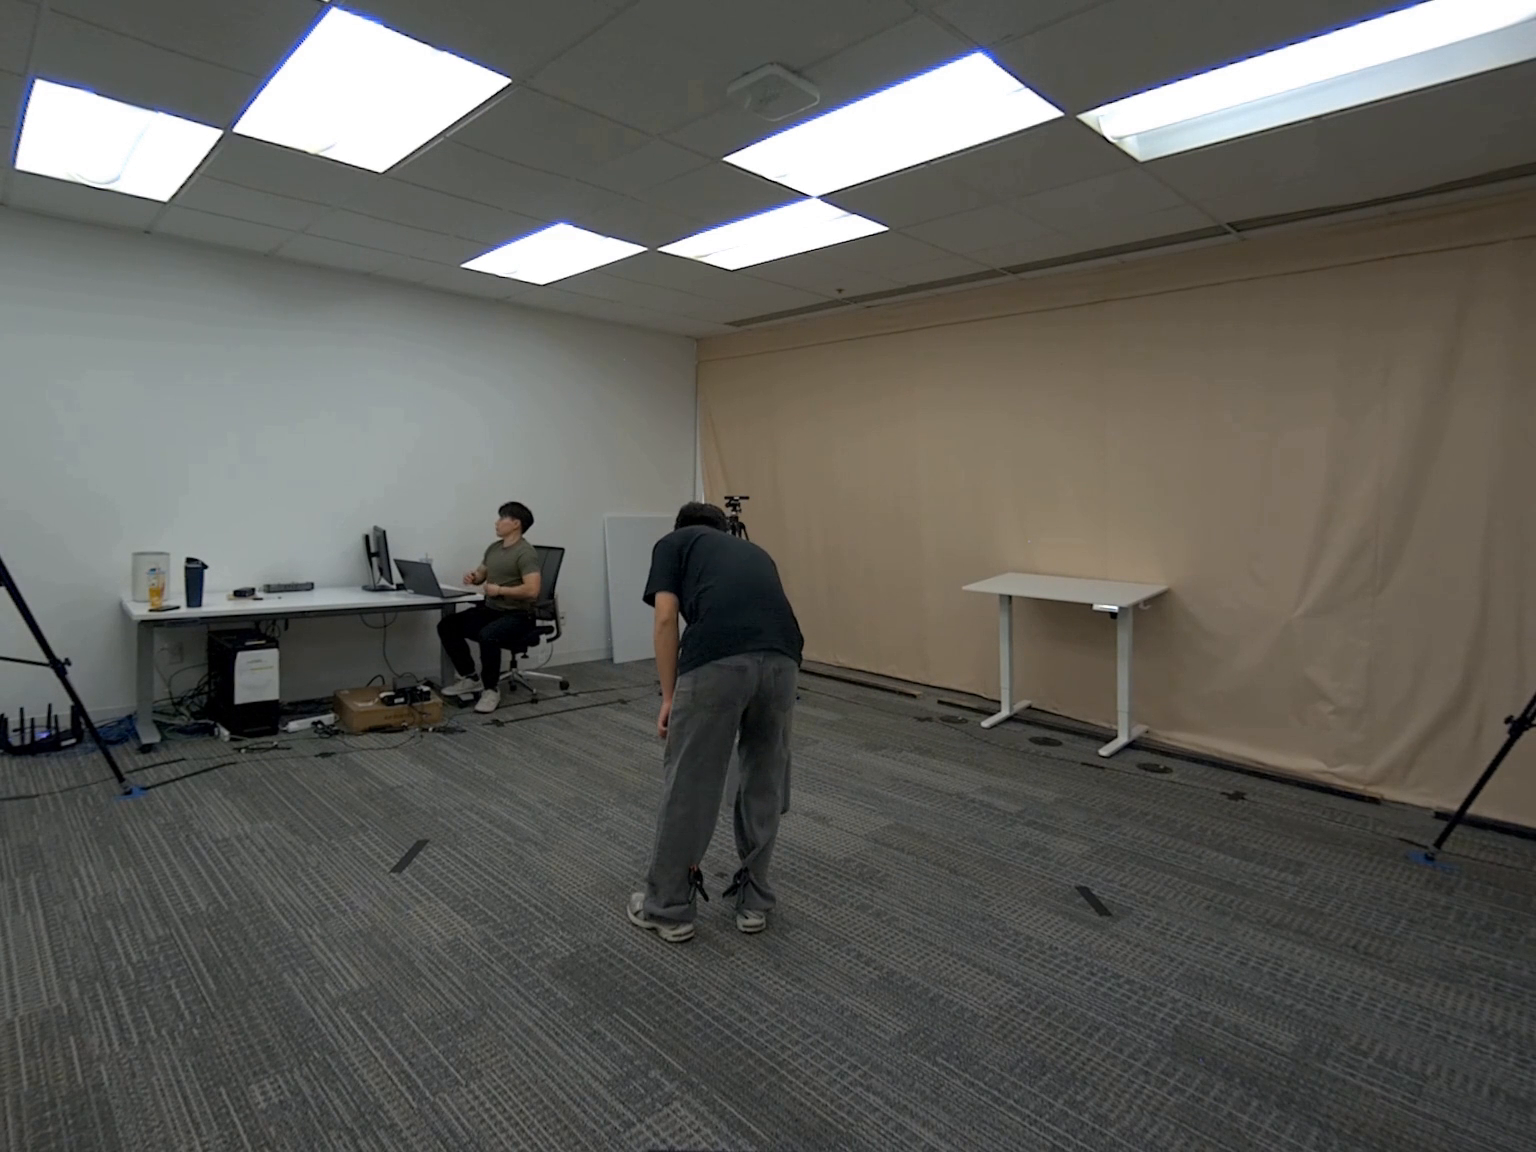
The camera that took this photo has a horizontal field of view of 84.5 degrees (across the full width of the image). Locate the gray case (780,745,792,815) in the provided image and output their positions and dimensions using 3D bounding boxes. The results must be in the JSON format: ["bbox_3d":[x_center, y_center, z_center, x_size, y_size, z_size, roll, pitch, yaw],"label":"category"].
[{"bbox_3d":[-0.038,0.739,3.136,0.269,0.289,0.100,-7,-13,42],"label":"gray case"}]
